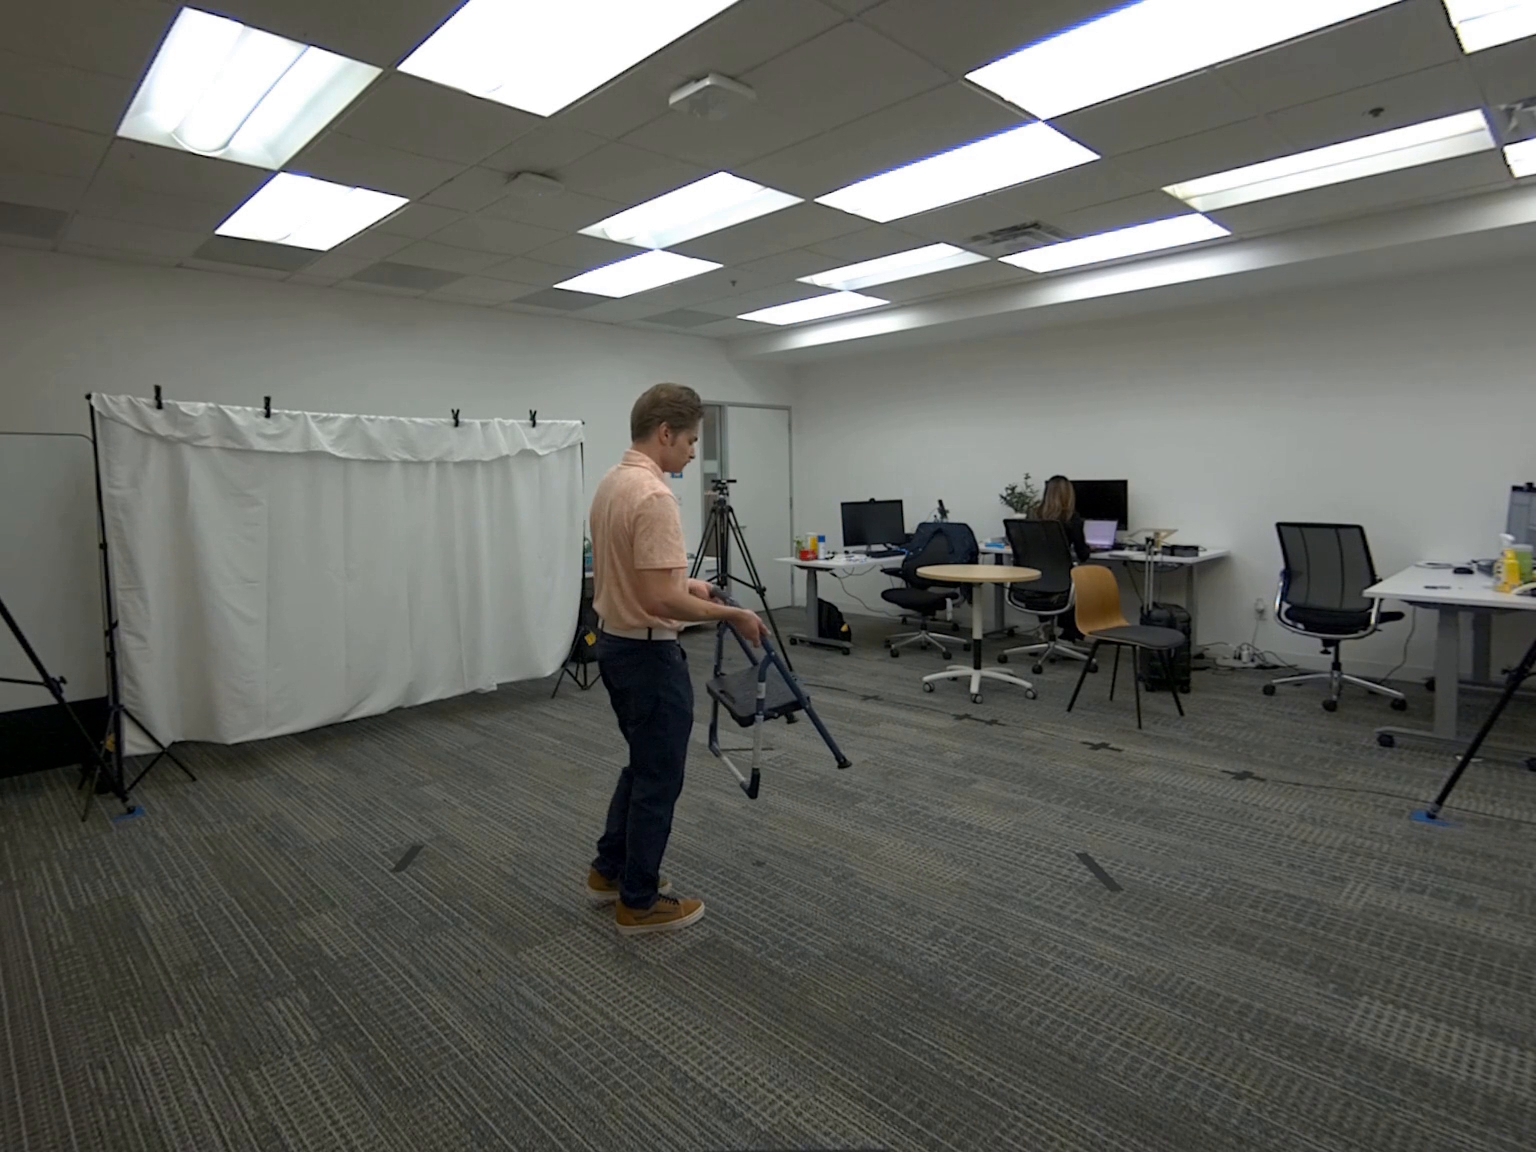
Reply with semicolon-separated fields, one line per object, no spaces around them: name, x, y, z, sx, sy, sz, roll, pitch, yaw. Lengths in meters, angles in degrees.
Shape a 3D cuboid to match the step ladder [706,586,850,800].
step ladder;-0.032;0.318;2.789;0.345;0.597;0.442;-16;15;-19
